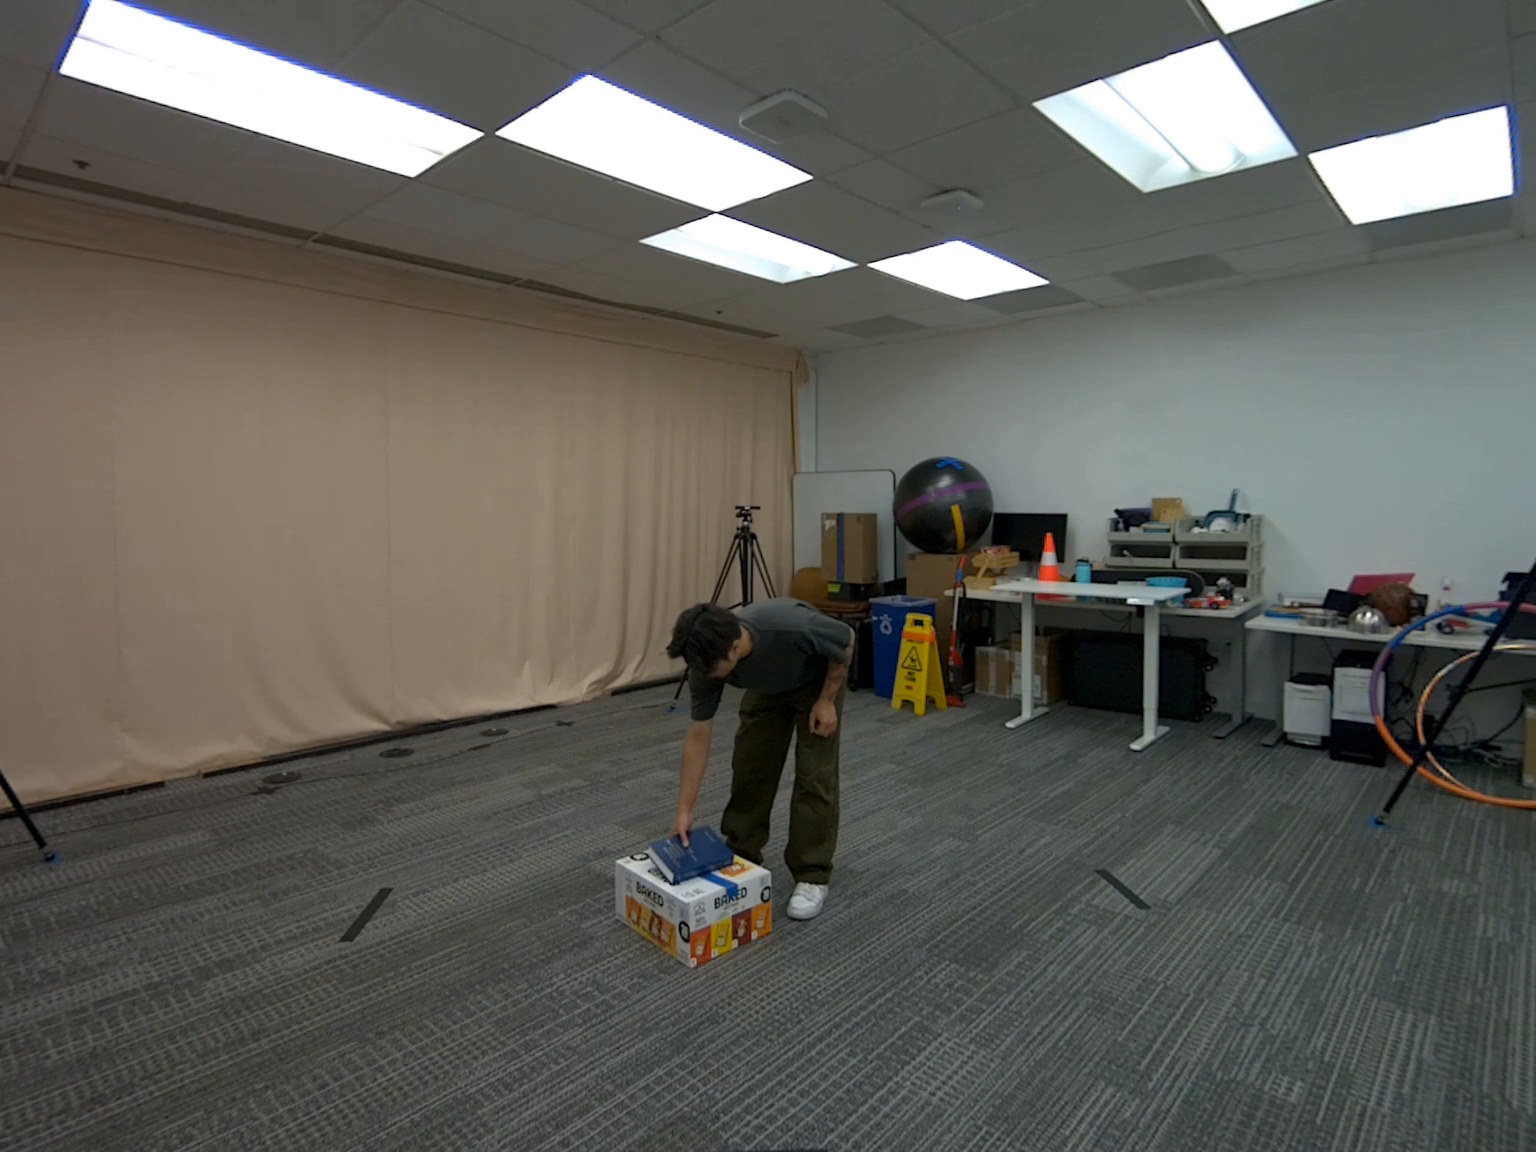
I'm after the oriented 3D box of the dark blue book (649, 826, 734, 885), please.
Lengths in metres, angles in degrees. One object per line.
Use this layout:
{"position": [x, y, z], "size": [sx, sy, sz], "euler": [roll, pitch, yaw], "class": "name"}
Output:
{"position": [-0.255, 0.930, 2.771], "size": [0.238, 0.045, 0.169], "euler": [0, 20, -31], "class": "dark blue book"}
